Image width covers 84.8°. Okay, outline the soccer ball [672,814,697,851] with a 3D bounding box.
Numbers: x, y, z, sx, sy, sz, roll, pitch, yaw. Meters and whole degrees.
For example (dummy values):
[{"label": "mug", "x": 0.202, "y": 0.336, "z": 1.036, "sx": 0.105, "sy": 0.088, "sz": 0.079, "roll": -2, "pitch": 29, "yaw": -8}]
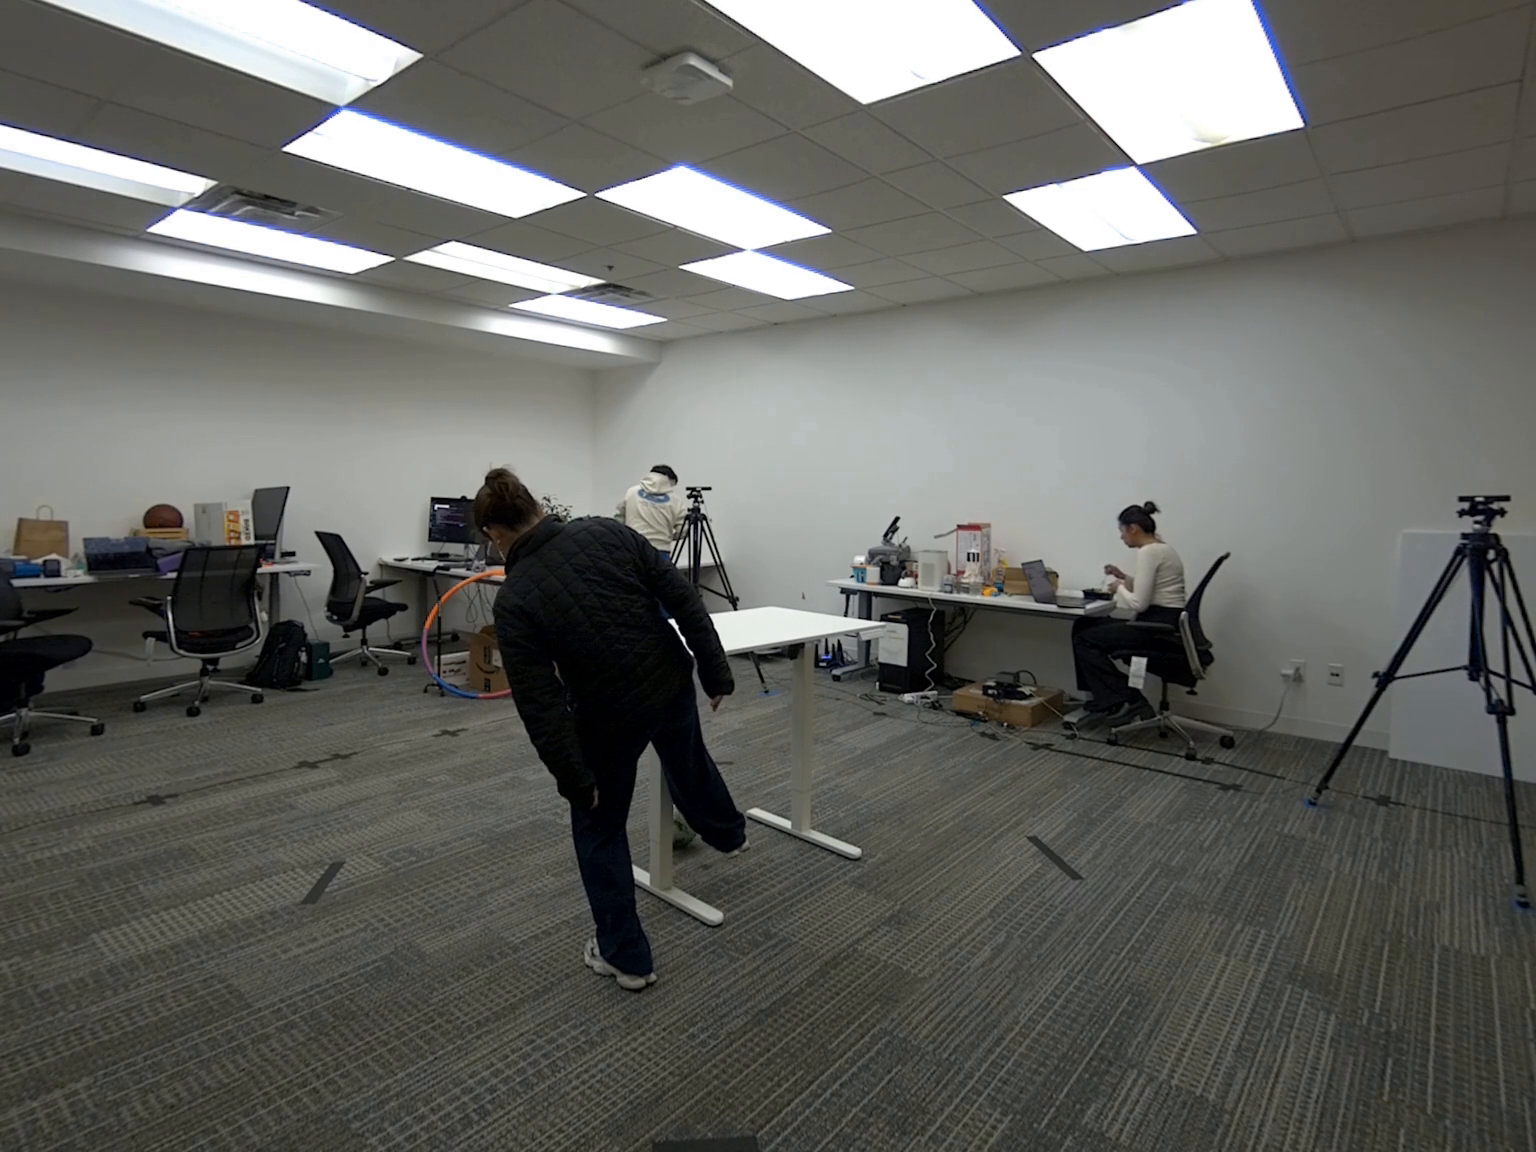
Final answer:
[{"label": "soccer ball", "x": -0.357, "y": 0.943, "z": 3.304, "sx": 0.187, "sy": 0.187, "sz": 0.188, "roll": 1, "pitch": 4, "yaw": -2}]
